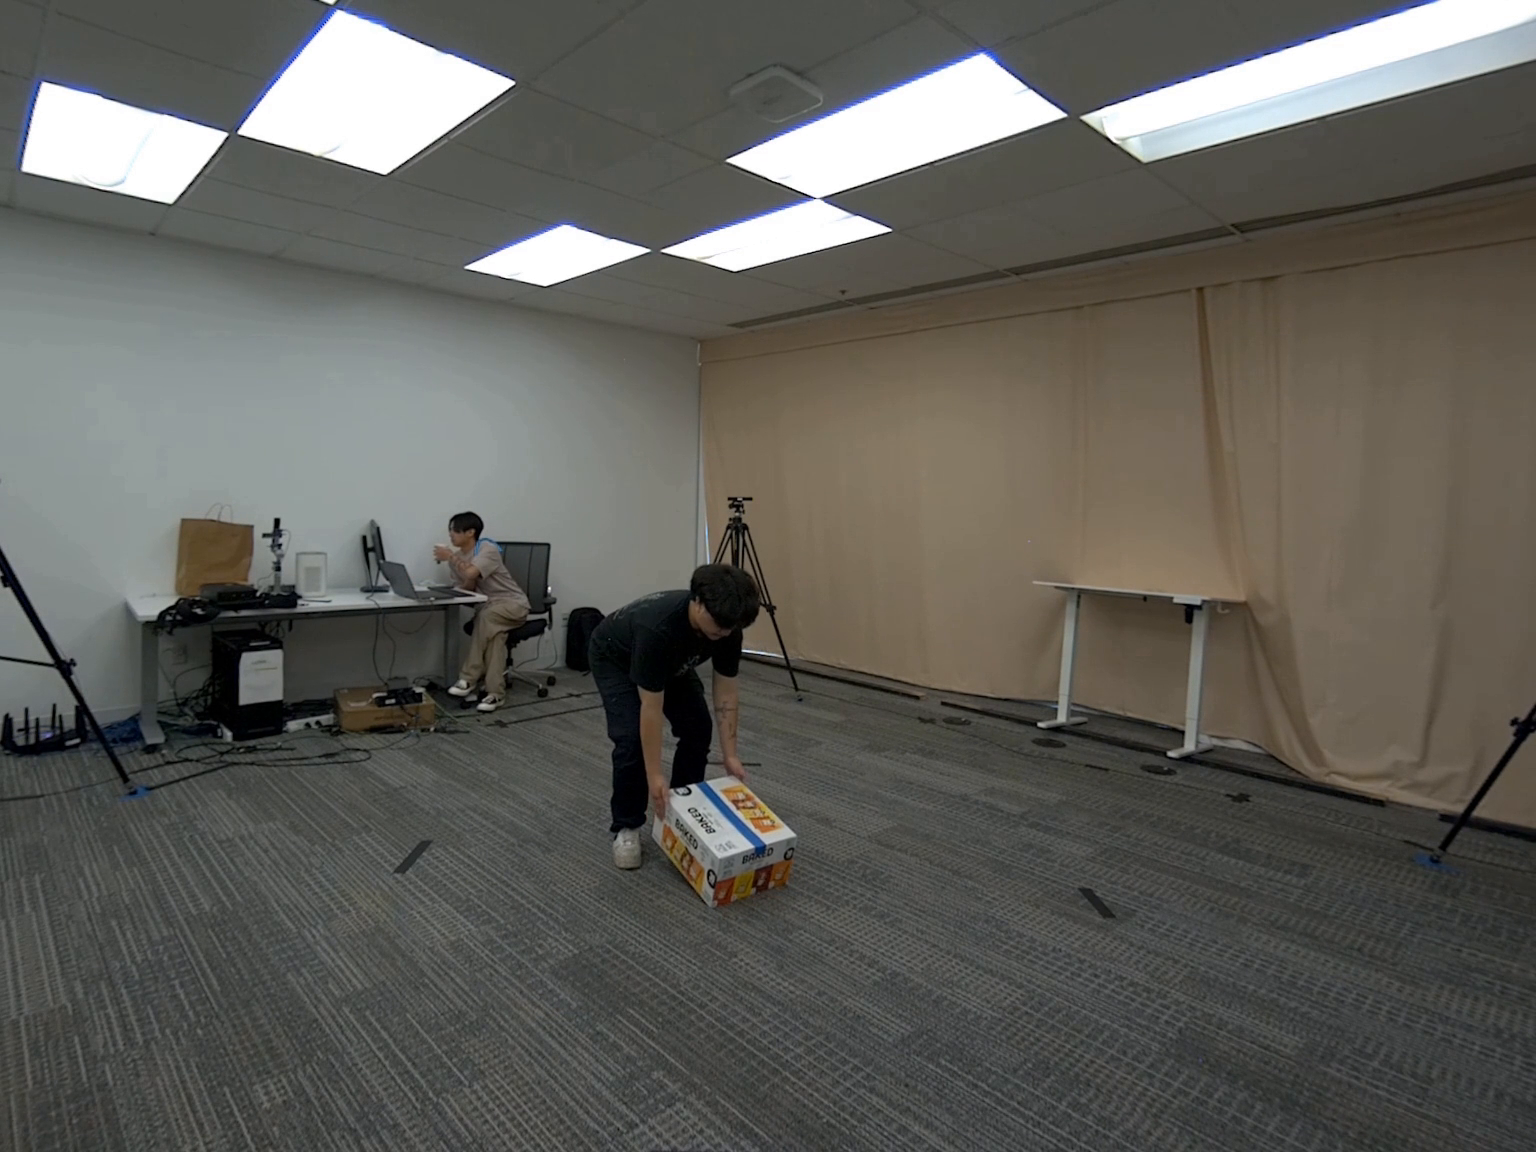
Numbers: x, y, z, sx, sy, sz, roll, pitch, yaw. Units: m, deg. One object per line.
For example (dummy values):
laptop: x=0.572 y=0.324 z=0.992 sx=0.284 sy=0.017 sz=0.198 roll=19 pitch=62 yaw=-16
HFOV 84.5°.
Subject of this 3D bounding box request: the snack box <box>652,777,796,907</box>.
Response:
snack box: x=-0.172 y=0.957 z=3.078 sx=0.333 sy=0.204 sz=0.418 roll=-2 pitch=22 yaw=-37
